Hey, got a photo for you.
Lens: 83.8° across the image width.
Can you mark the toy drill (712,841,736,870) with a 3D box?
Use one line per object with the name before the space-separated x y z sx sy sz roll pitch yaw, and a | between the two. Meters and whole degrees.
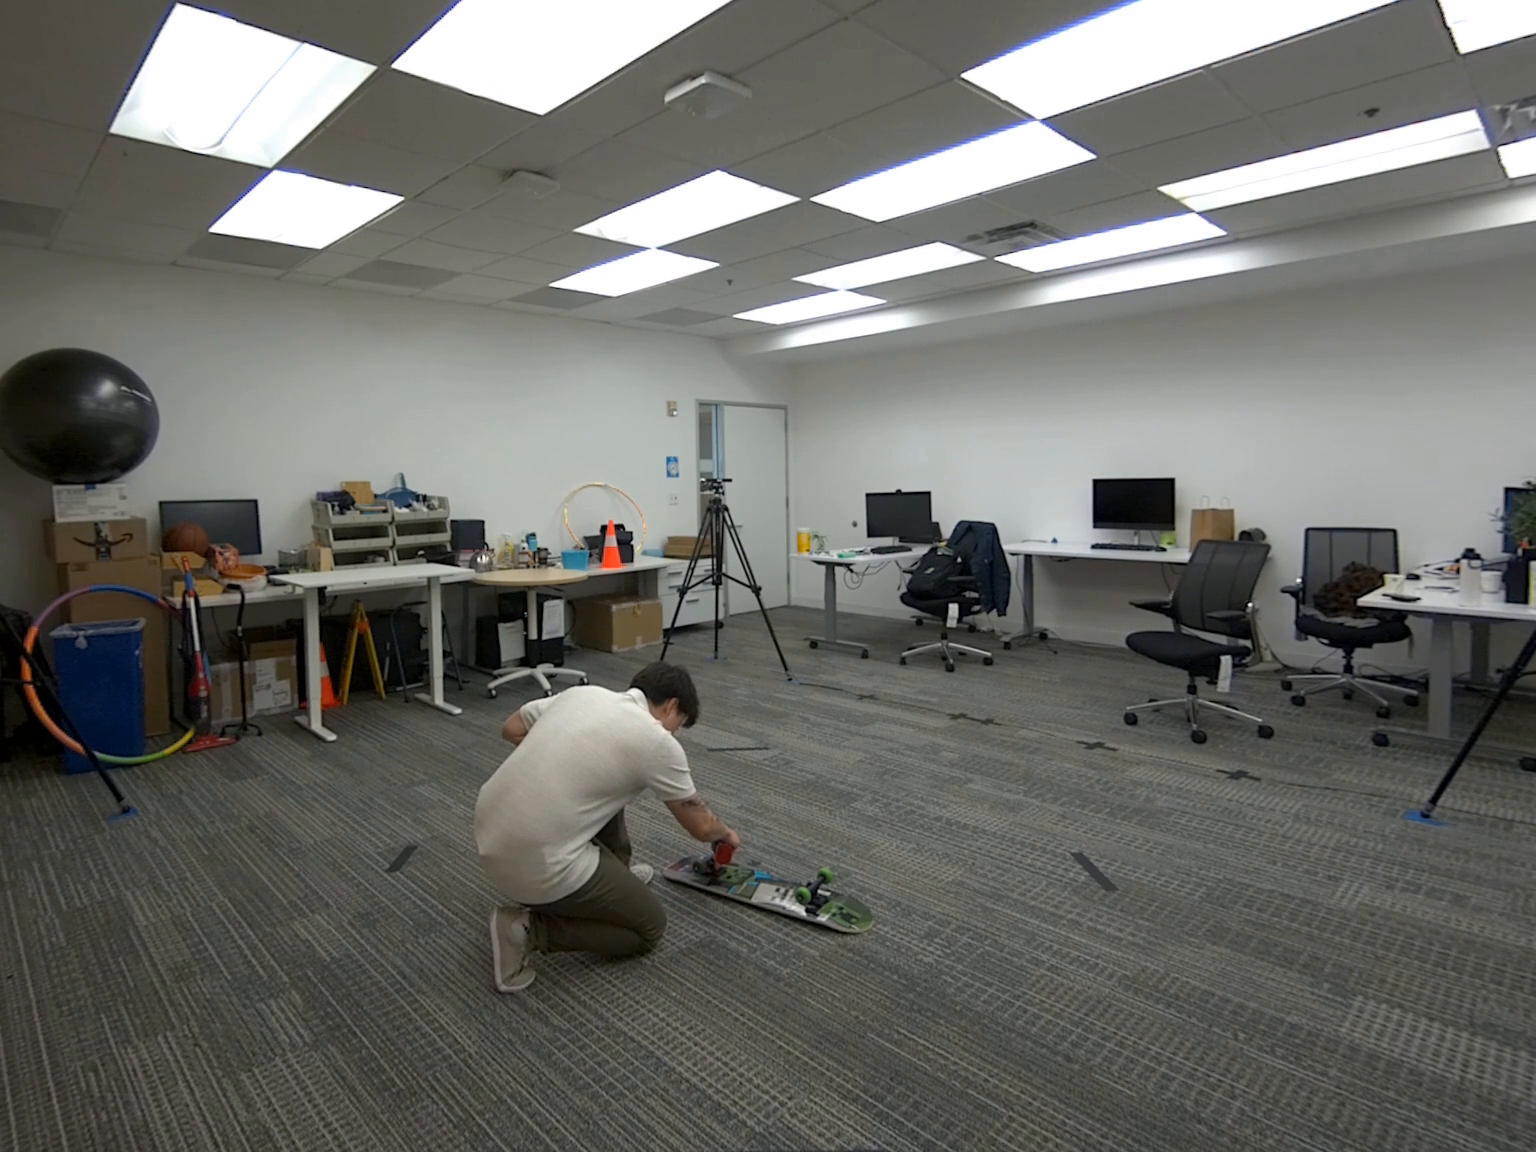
toy drill | -0.158 0.939 2.883 0.061 0.168 0.148 8 11 -8
